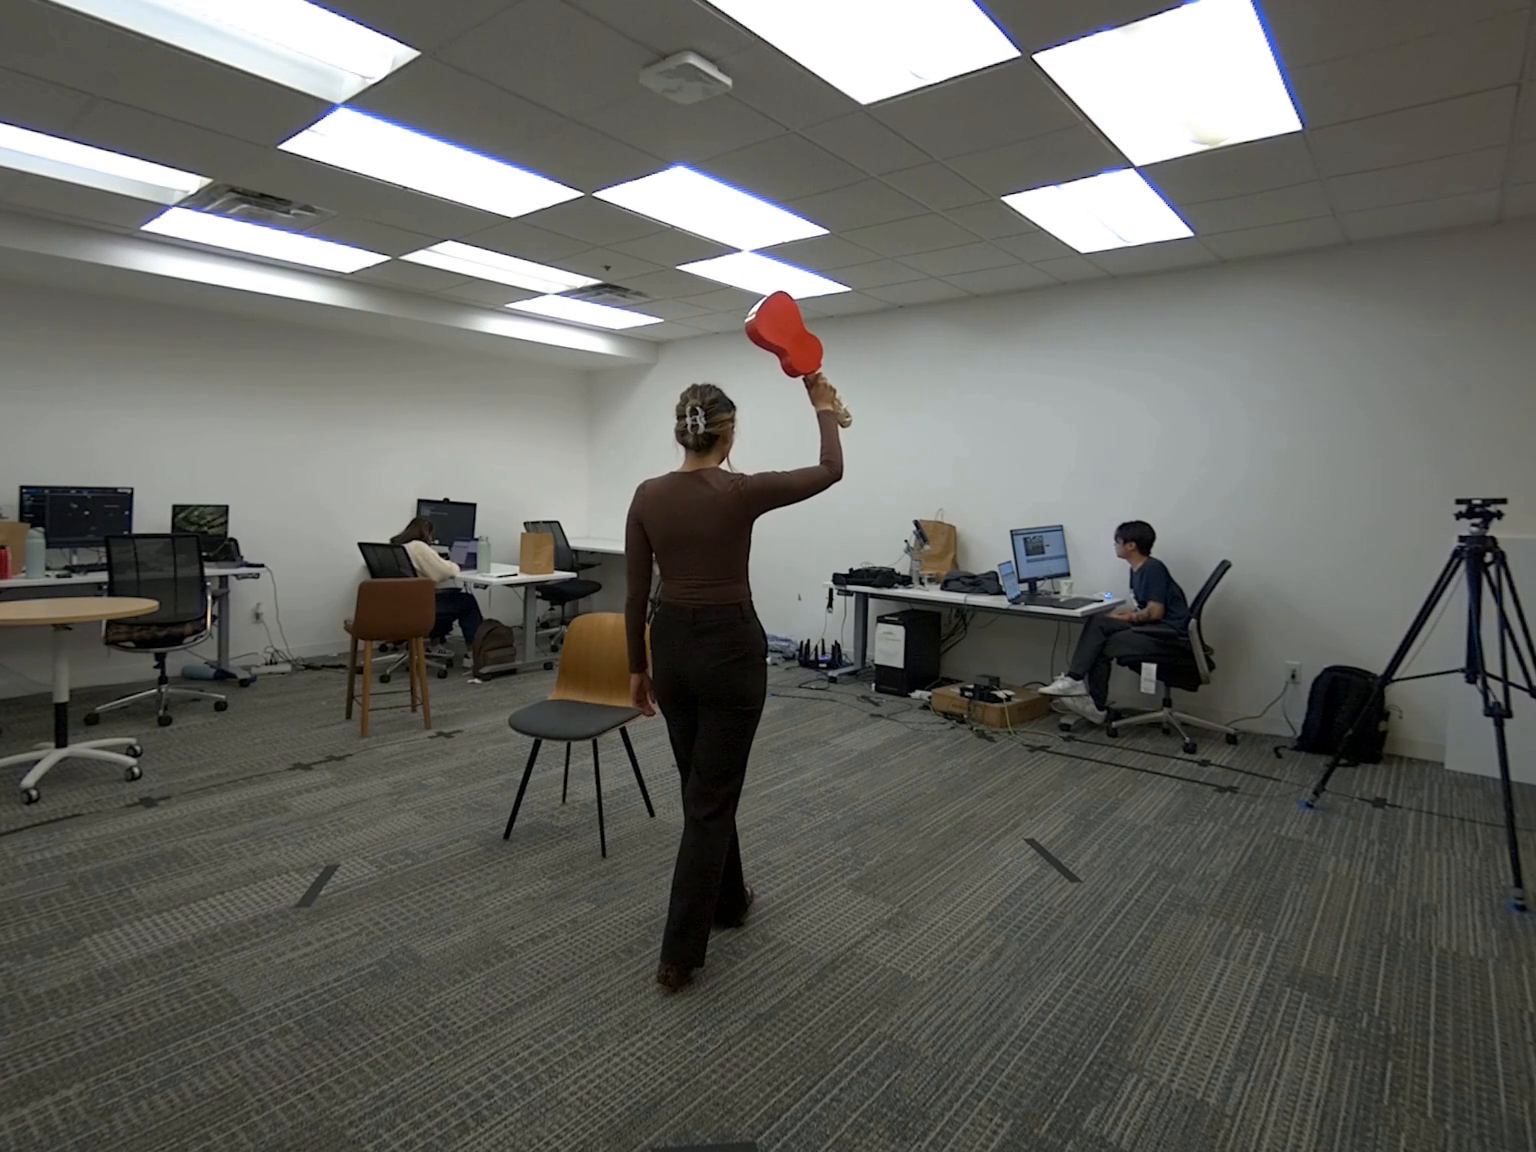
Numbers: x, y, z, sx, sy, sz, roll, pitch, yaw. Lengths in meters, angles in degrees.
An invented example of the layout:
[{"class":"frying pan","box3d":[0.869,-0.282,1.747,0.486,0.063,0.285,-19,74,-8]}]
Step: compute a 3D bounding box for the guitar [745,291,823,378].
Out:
[{"class":"guitar","box3d":[0.128,-0.699,2.730,0.483,0.194,0.072,40,-26,-22]}]
